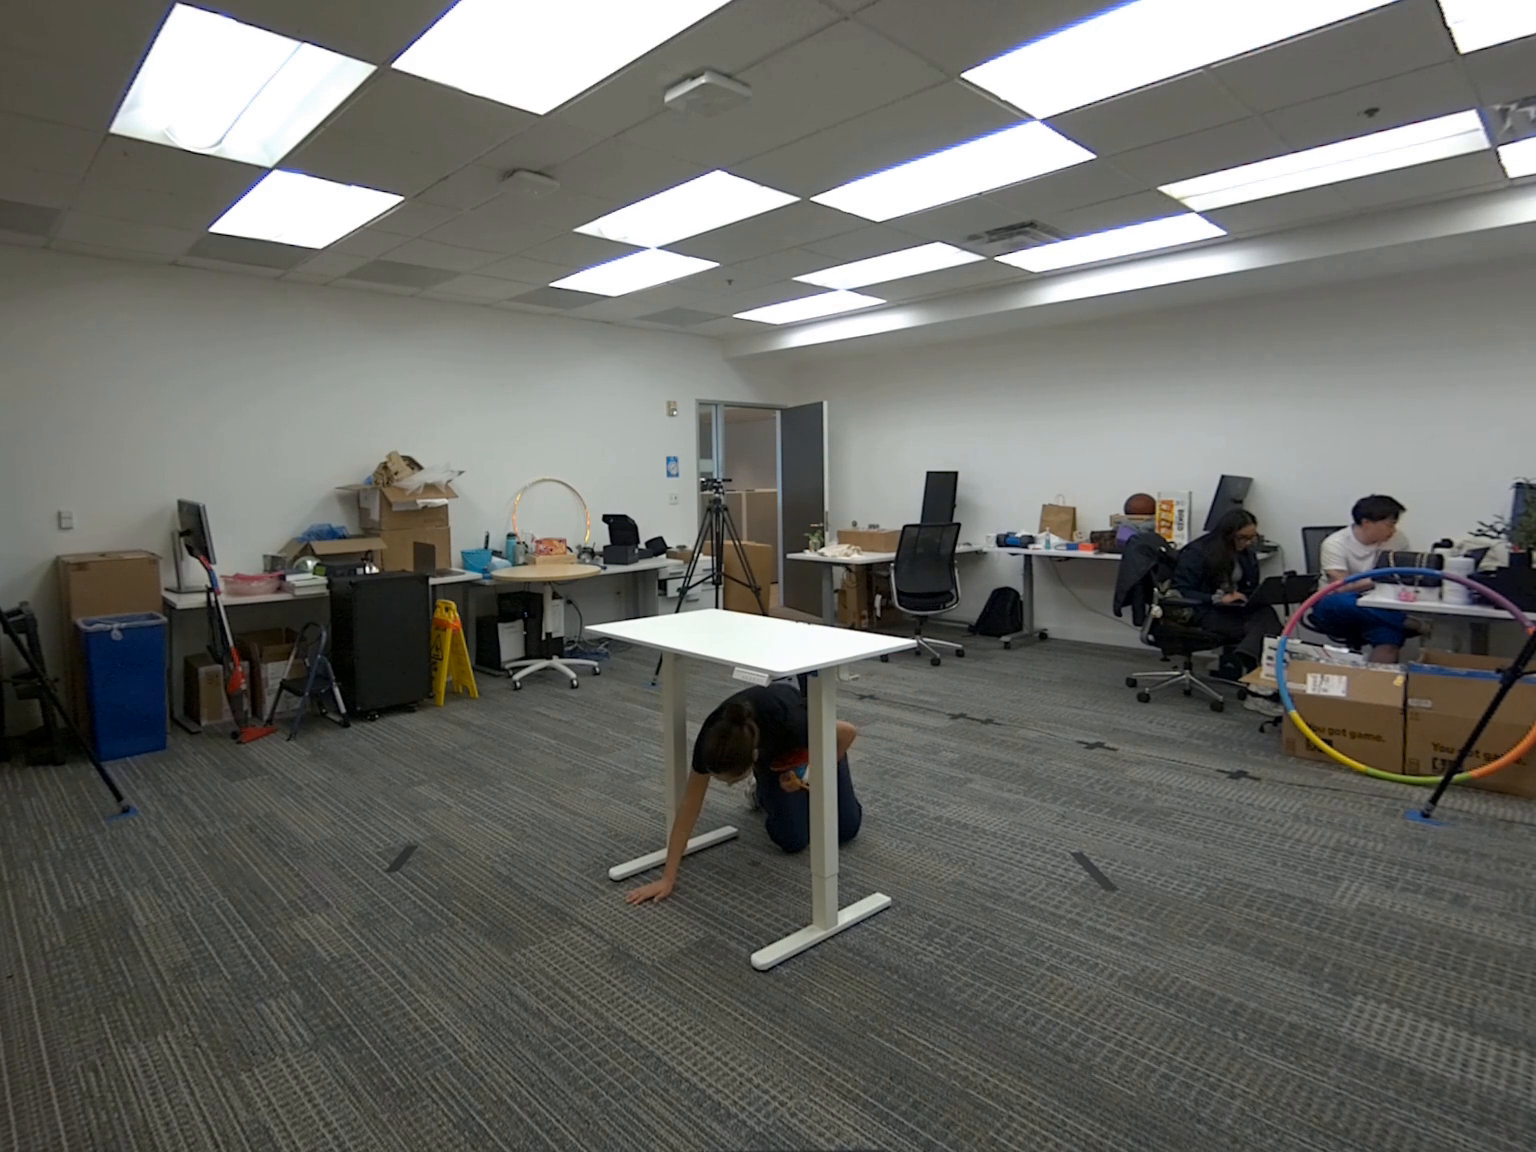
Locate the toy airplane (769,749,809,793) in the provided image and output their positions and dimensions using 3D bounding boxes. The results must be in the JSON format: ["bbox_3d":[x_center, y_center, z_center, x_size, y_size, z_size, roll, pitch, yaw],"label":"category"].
[{"bbox_3d":[0.127,0.641,3.048,0.152,0.250,0.268,22,28,-25],"label":"toy airplane"}]
